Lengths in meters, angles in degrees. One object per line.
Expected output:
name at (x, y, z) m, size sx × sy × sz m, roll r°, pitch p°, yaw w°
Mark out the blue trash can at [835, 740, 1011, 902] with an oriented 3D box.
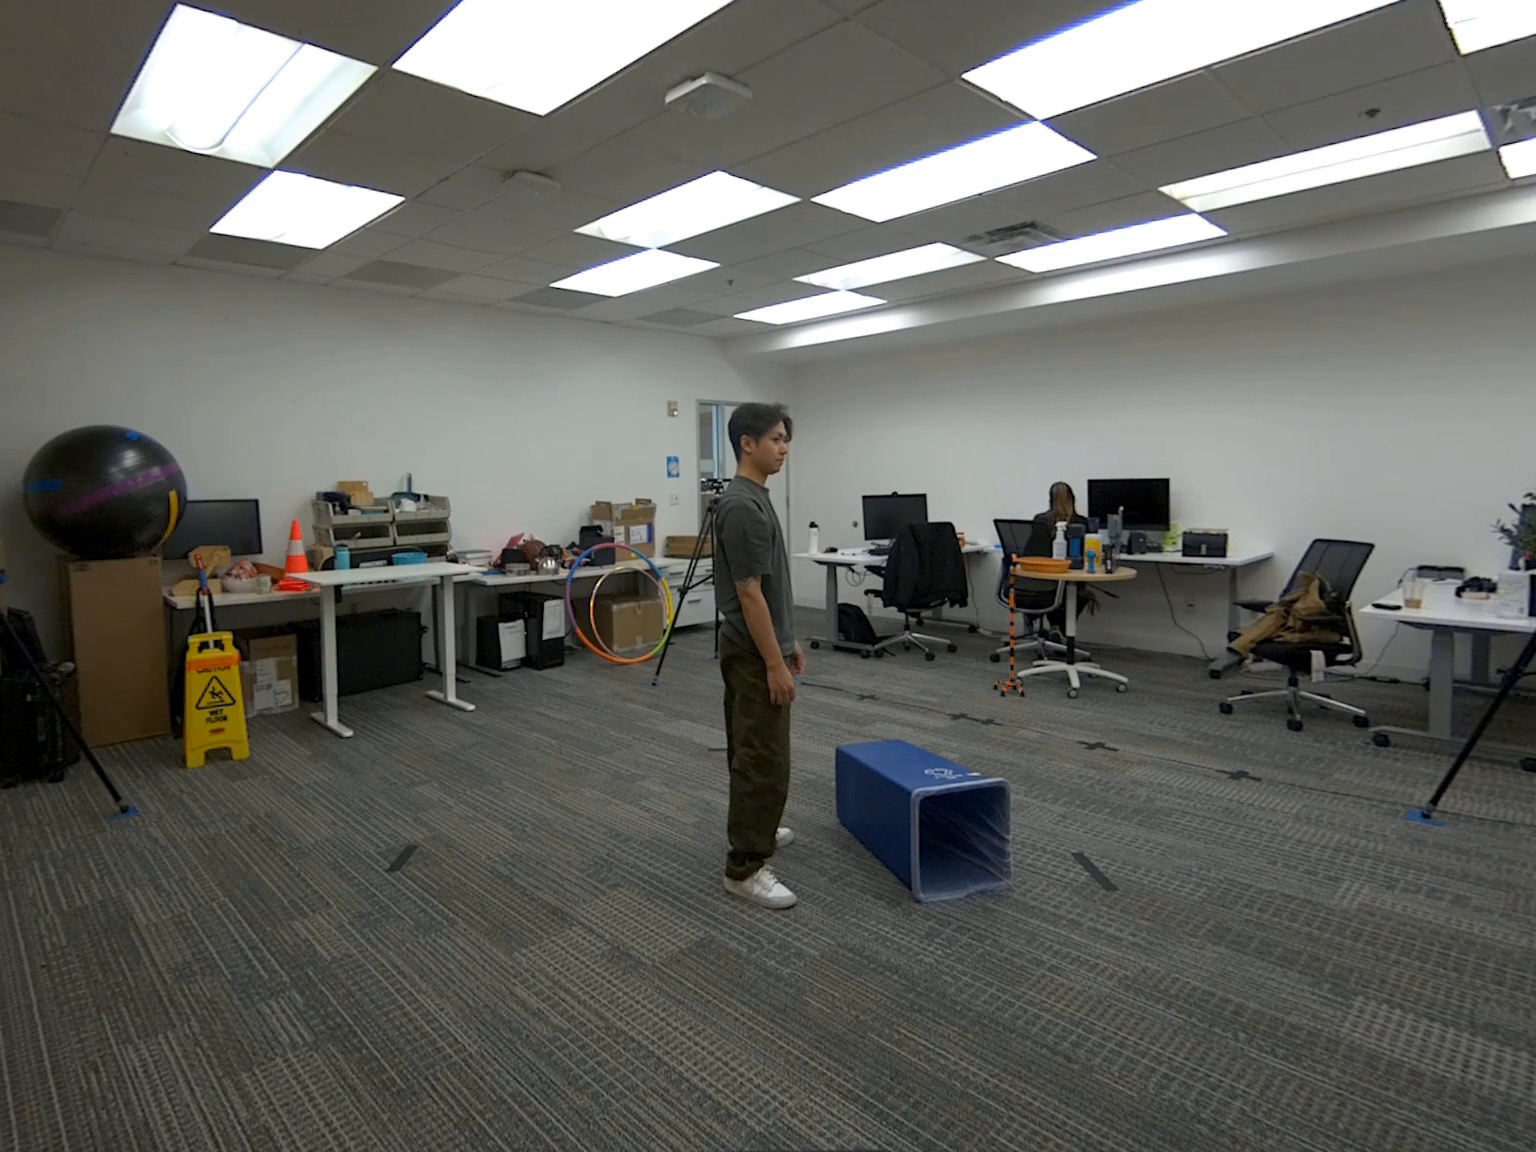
blue trash can at (0.533, 0.848, 3.180) m, size 0.372 × 0.373 × 0.727 m, roll -3°, pitch 5°, yaw -19°
